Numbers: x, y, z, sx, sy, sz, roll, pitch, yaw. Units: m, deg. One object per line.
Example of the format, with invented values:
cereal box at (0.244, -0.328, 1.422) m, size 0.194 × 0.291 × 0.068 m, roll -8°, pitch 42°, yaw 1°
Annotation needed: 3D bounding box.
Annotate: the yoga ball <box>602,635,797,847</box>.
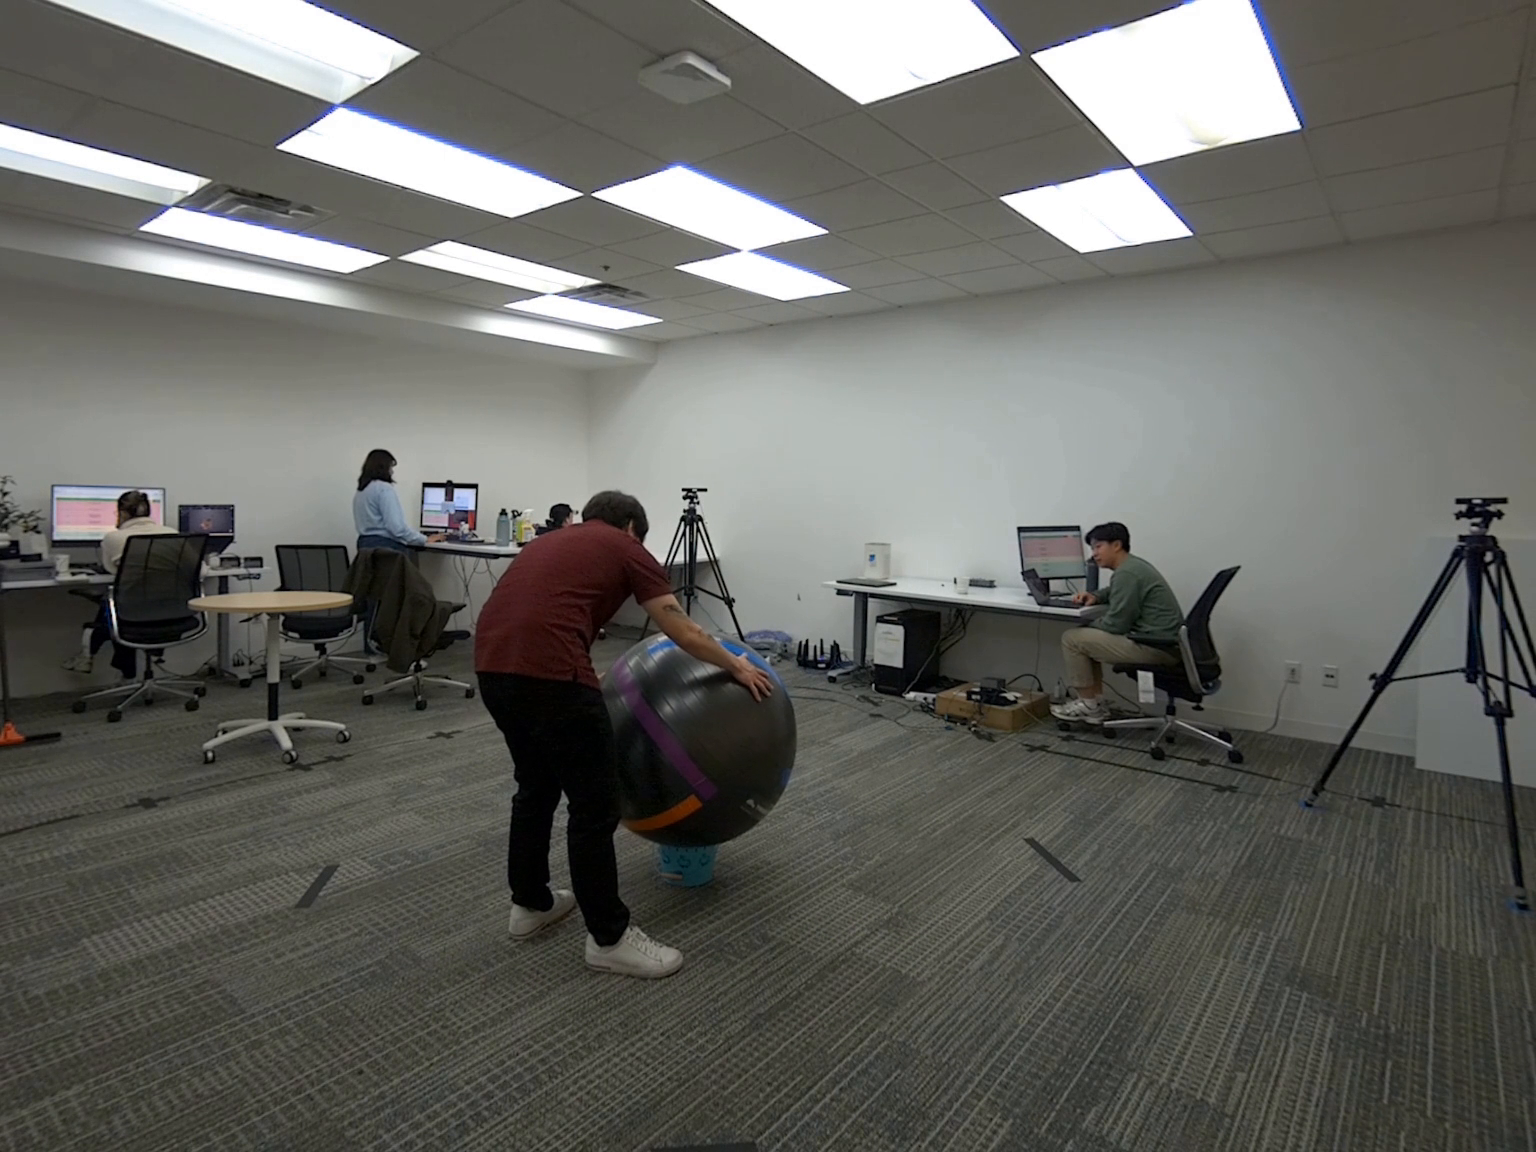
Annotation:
yoga ball at (-0.271, 0.571, 3.028) m, size 0.757 × 0.755 × 0.762 m, roll 1°, pitch 4°, yaw -2°
